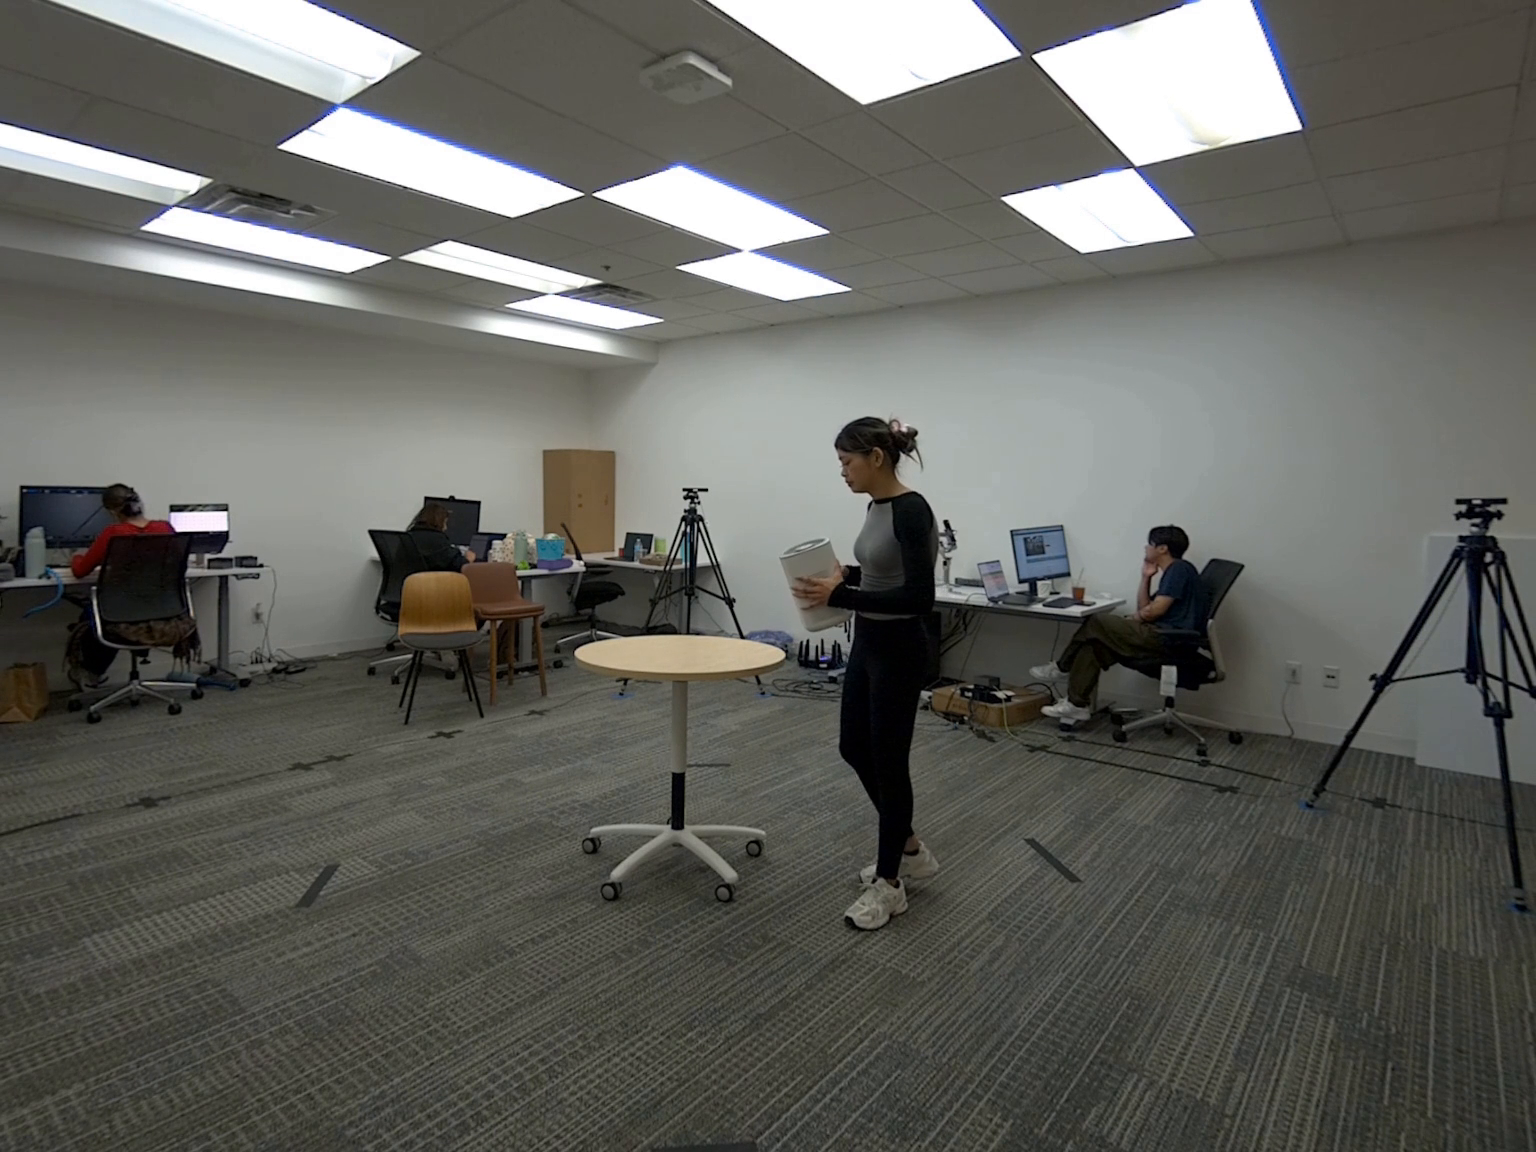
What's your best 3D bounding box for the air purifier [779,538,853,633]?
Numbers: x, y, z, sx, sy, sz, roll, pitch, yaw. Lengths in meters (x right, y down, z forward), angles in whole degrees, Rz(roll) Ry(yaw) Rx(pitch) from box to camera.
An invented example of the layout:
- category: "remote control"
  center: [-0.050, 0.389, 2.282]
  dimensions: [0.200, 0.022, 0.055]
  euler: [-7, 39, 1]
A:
- category: "air purifier"
  center: [0.157, 0.025, 2.754]
  dimensions: [0.172, 0.264, 0.172]
  euler: [-19, 6, 3]
